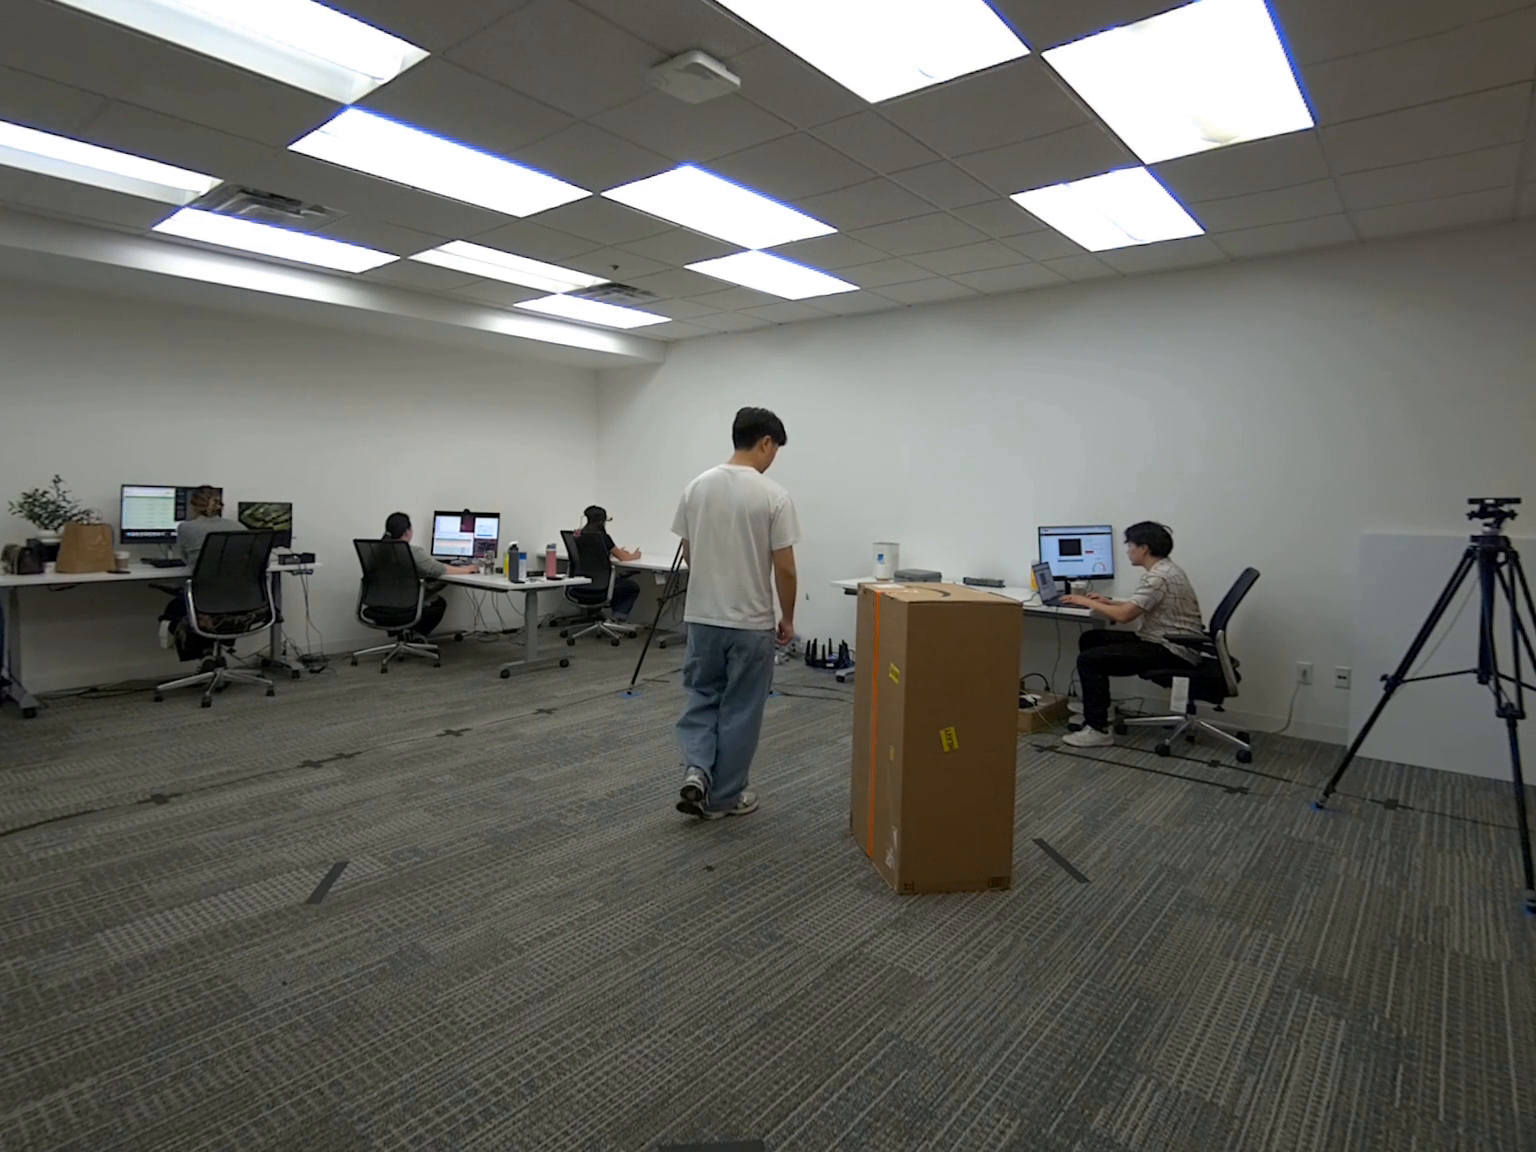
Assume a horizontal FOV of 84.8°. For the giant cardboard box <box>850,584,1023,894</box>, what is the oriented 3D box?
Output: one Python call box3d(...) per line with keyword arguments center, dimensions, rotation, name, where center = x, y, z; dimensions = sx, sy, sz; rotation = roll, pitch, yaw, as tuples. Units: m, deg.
box3d(center=(0.604, 0.563, 3.223), dimensions=(0.421, 1.023, 0.586), rotation=(1, 3, -11), name="giant cardboard box")
